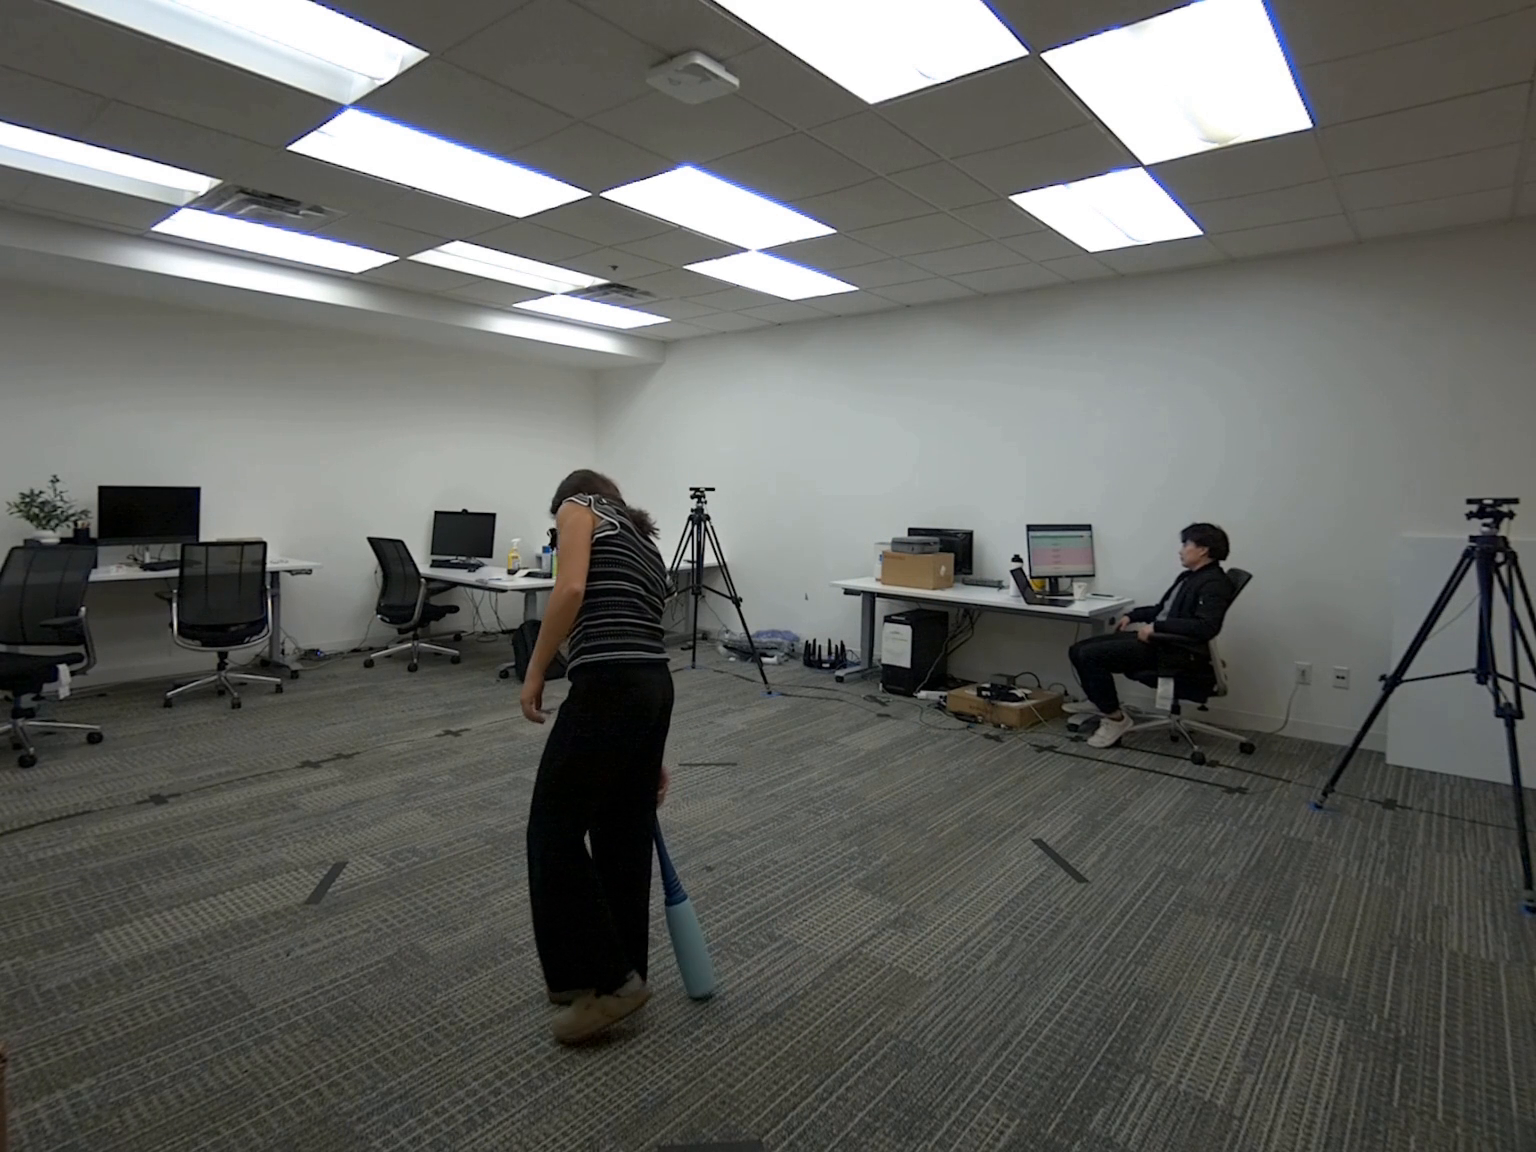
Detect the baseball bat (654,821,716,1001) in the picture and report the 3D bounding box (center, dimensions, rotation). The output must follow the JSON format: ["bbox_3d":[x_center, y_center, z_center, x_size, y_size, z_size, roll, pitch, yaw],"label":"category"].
[{"bbox_3d":[-0.263,0.883,2.354,0.089,0.547,0.088,-16,-6,-3],"label":"baseball bat"}]
